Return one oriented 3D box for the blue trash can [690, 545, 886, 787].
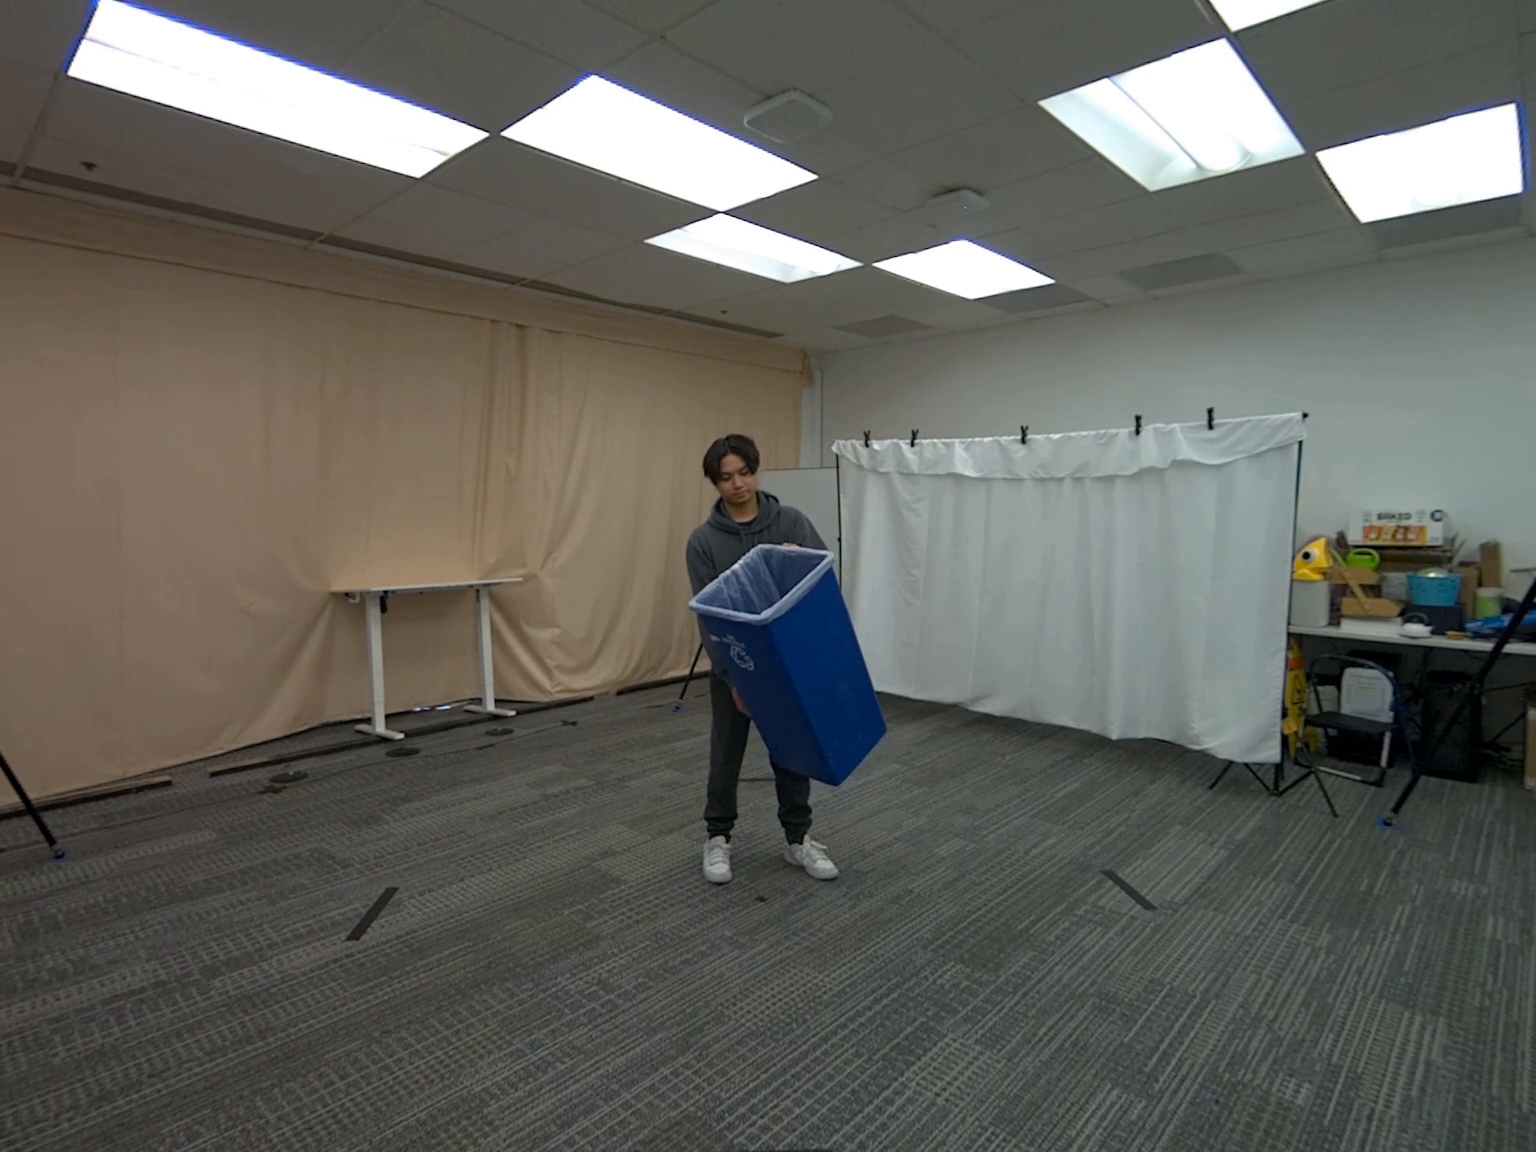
[{"bbox_3d":[0.099,0.305,2.807,0.387,0.698,0.373,6,37,48],"label":"blue trash can"}]
